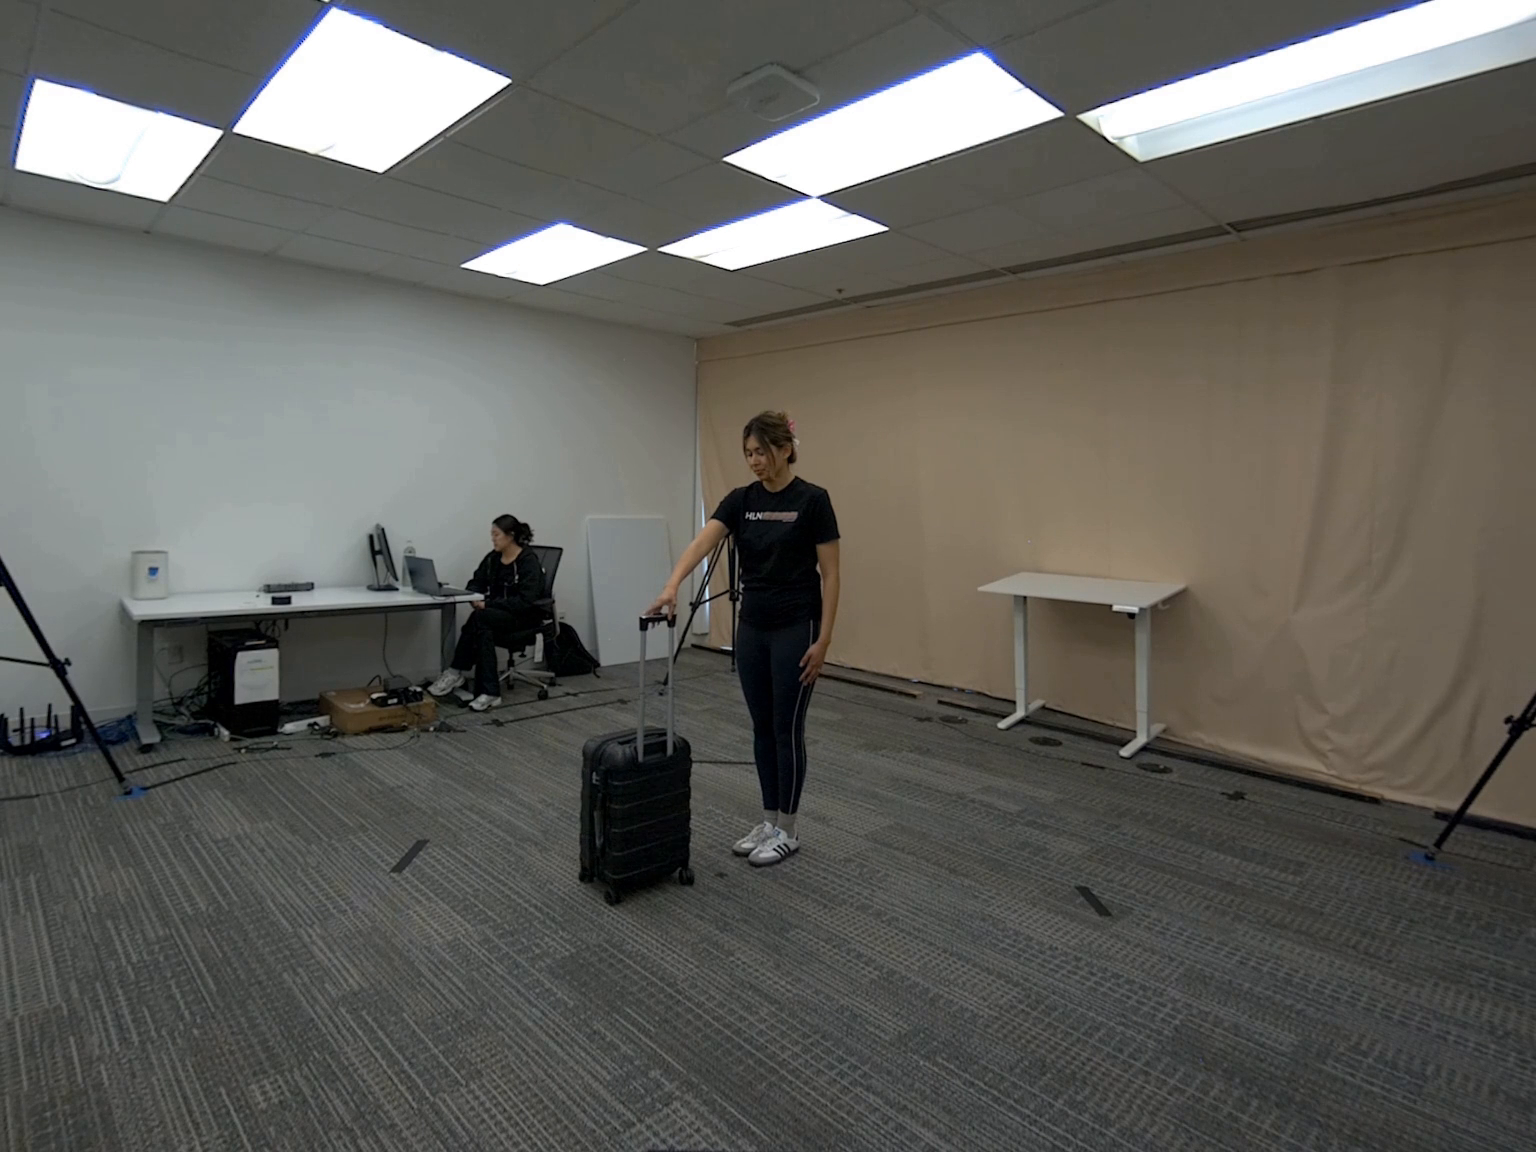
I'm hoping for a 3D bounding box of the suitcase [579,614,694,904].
[{"bbox_3d":[-0.481,0.629,3.003,0.375,0.977,0.263,-2,3,-41],"label":"suitcase"}]
